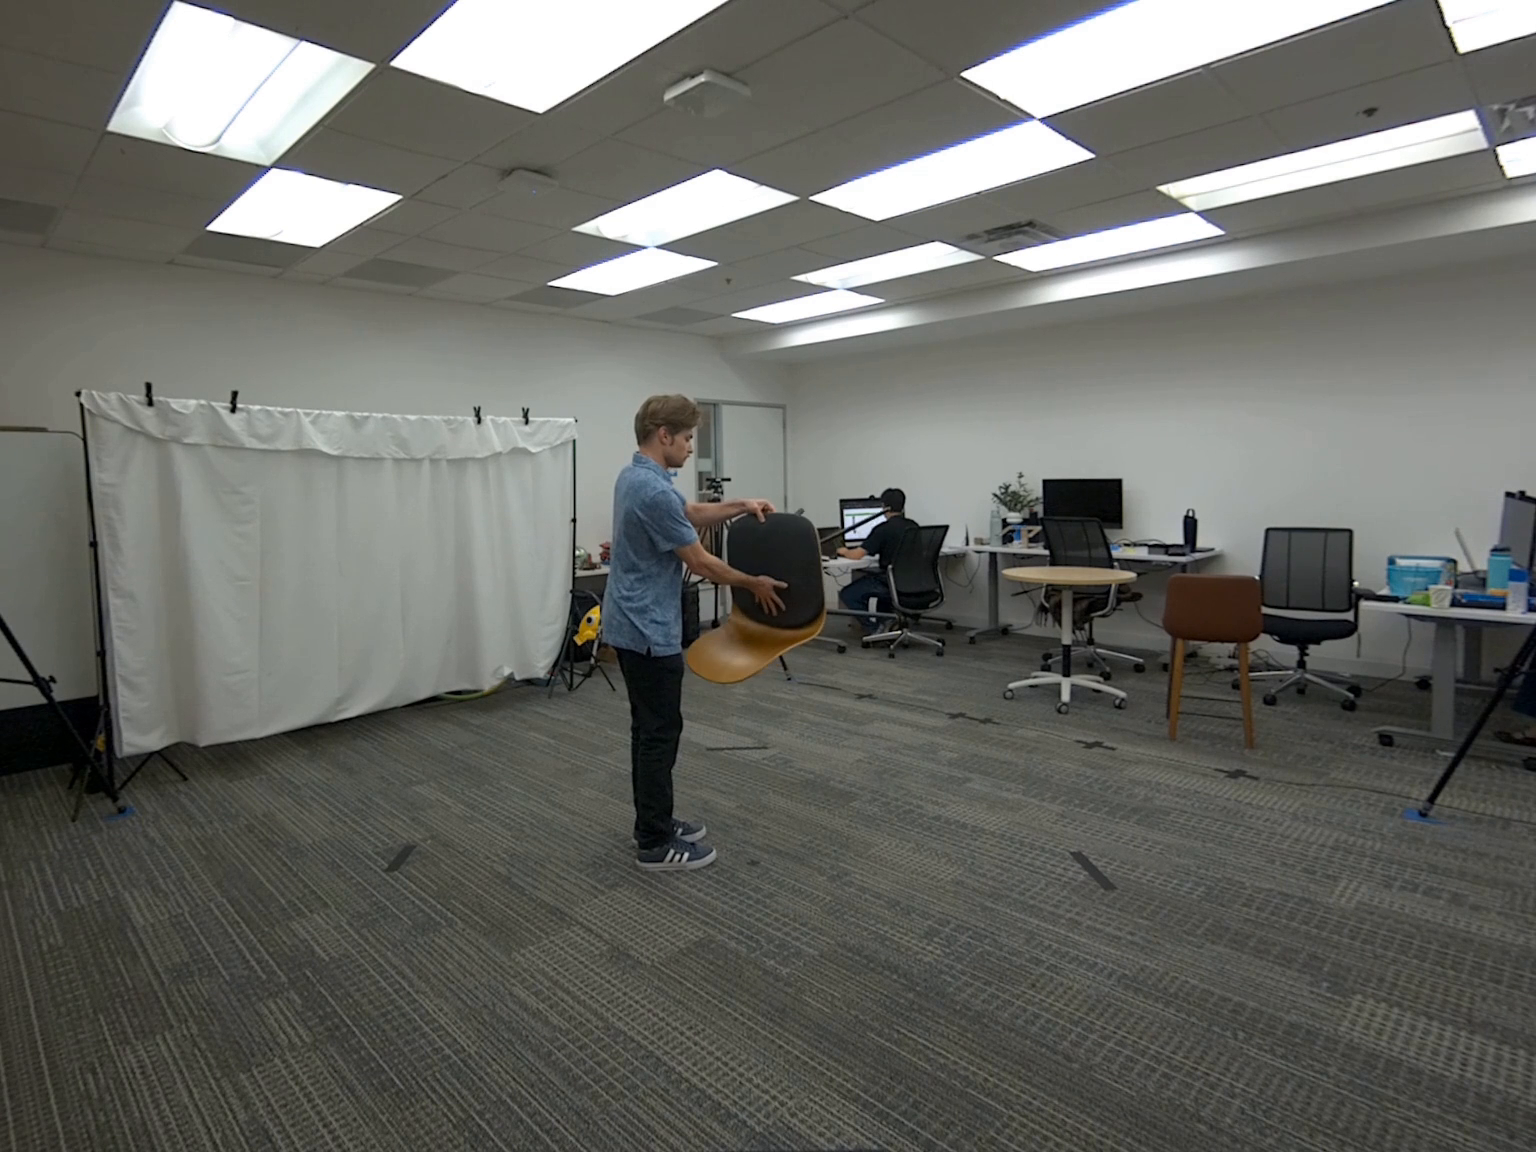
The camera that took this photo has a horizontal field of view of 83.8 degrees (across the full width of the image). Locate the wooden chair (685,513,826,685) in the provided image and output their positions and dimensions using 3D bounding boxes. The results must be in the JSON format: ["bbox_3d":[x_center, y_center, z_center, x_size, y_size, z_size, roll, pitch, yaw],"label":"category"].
[{"bbox_3d":[0.057,0.017,3.301,0.492,0.517,0.861,3,16,42],"label":"wooden chair"}]
